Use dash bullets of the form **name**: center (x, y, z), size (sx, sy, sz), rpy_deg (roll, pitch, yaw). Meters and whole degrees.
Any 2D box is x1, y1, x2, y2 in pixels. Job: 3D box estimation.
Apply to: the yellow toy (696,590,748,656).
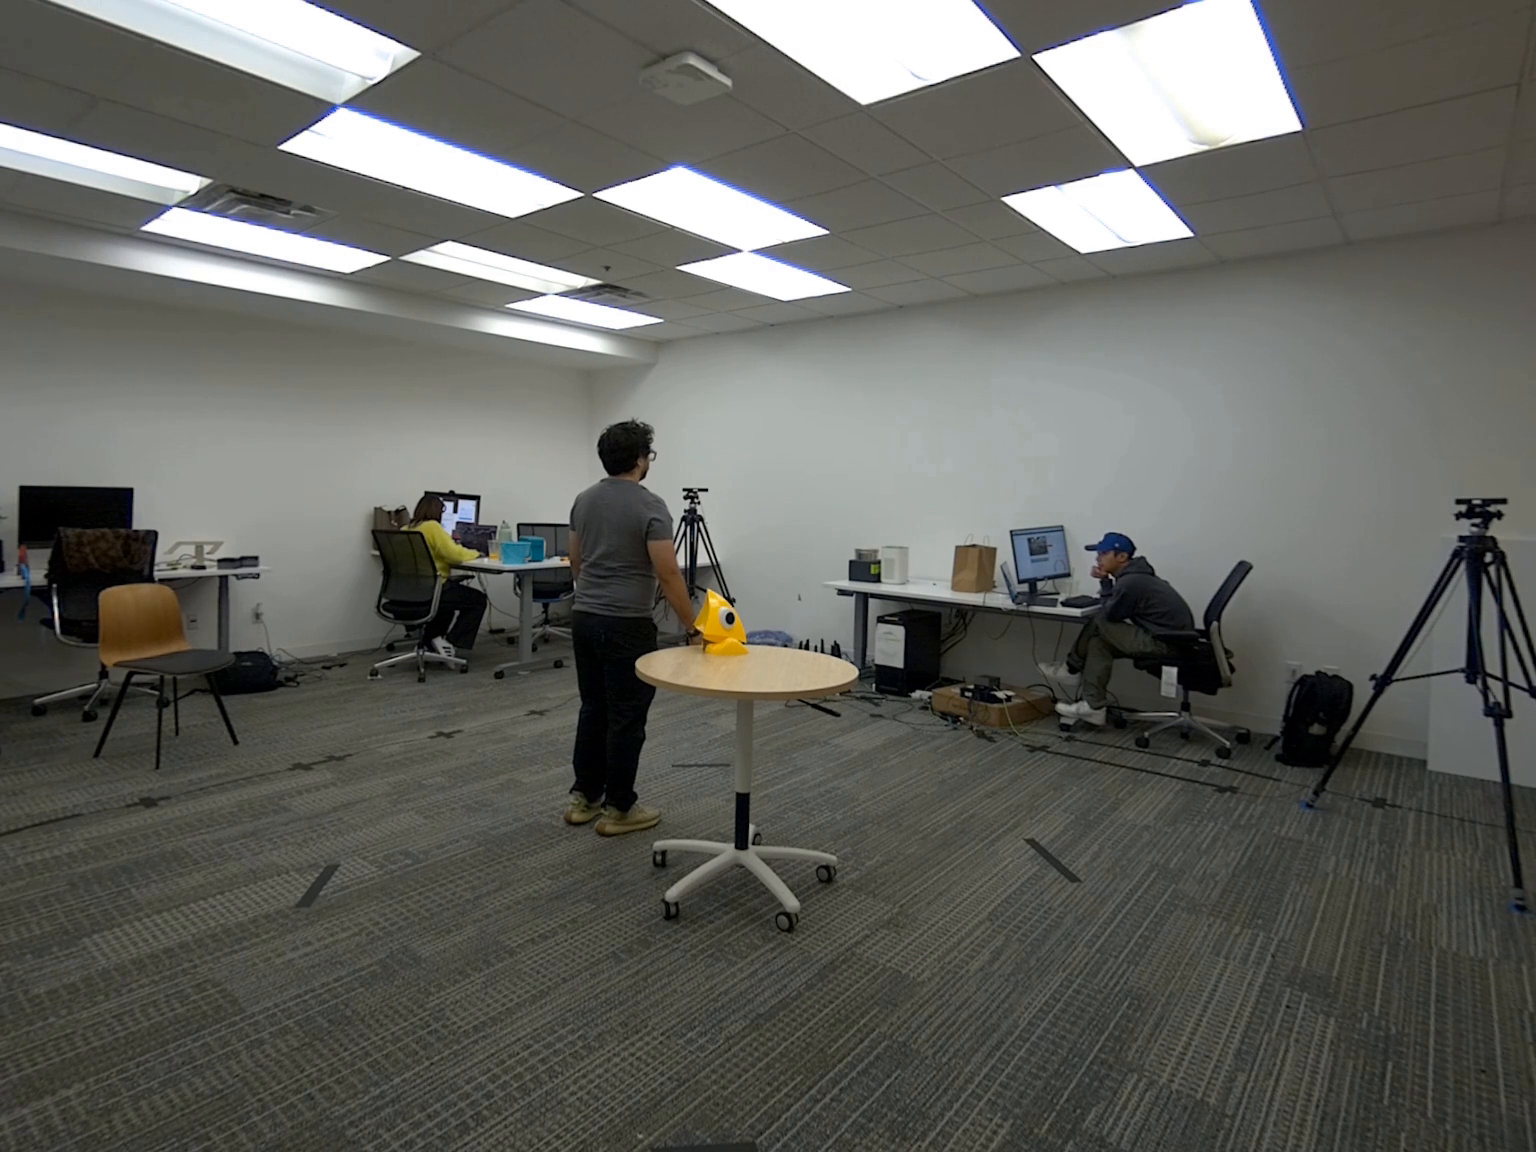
- **yellow toy**: center (-0.178, 0.161, 3.199), size (0.190, 0.230, 0.208), rpy_deg (1, 4, -15)
